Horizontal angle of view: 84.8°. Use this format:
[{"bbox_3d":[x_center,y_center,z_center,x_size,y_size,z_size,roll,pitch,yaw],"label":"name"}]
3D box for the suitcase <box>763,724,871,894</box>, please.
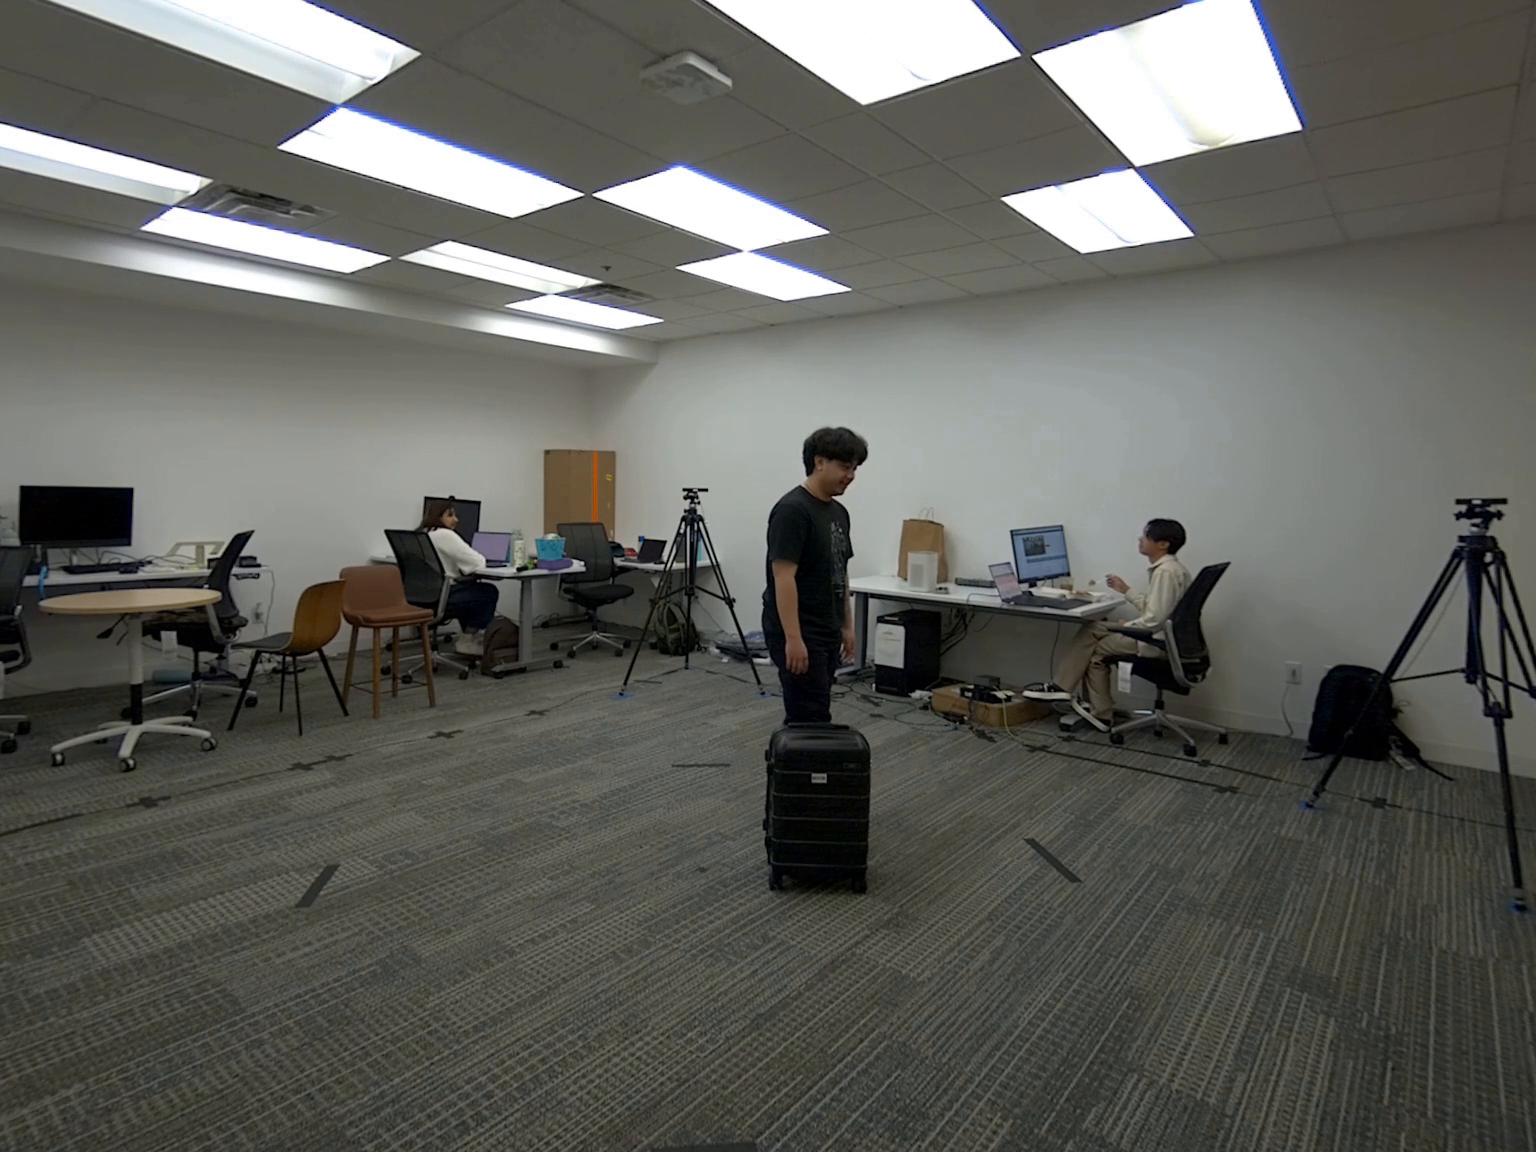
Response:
[{"bbox_3d":[0.173,0.806,3.045,0.375,0.547,0.249,2,4,-1],"label":"suitcase"}]
